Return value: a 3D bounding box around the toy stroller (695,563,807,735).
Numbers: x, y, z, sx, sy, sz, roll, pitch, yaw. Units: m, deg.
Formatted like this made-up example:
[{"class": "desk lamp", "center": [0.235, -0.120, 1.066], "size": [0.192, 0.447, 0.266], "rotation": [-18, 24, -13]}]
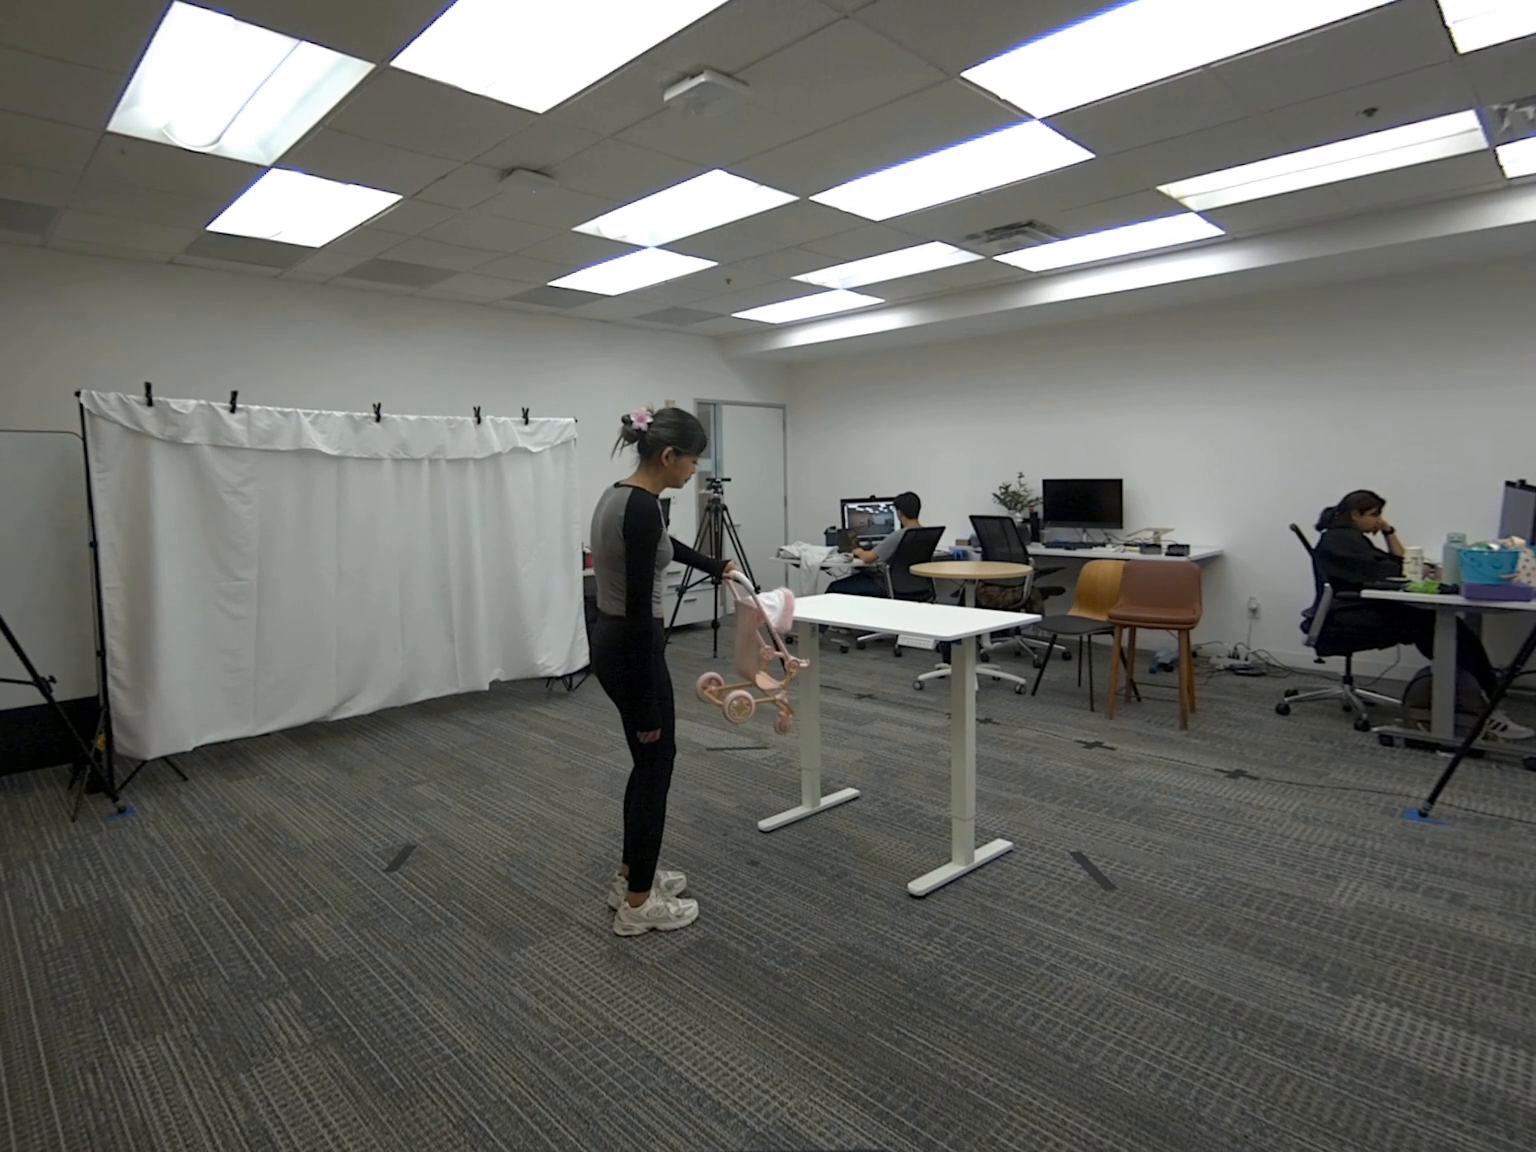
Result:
[{"class": "toy stroller", "center": [-0.017, 0.270, 2.894], "size": [0.334, 0.535, 0.287], "rotation": [10, 0, -21]}]
